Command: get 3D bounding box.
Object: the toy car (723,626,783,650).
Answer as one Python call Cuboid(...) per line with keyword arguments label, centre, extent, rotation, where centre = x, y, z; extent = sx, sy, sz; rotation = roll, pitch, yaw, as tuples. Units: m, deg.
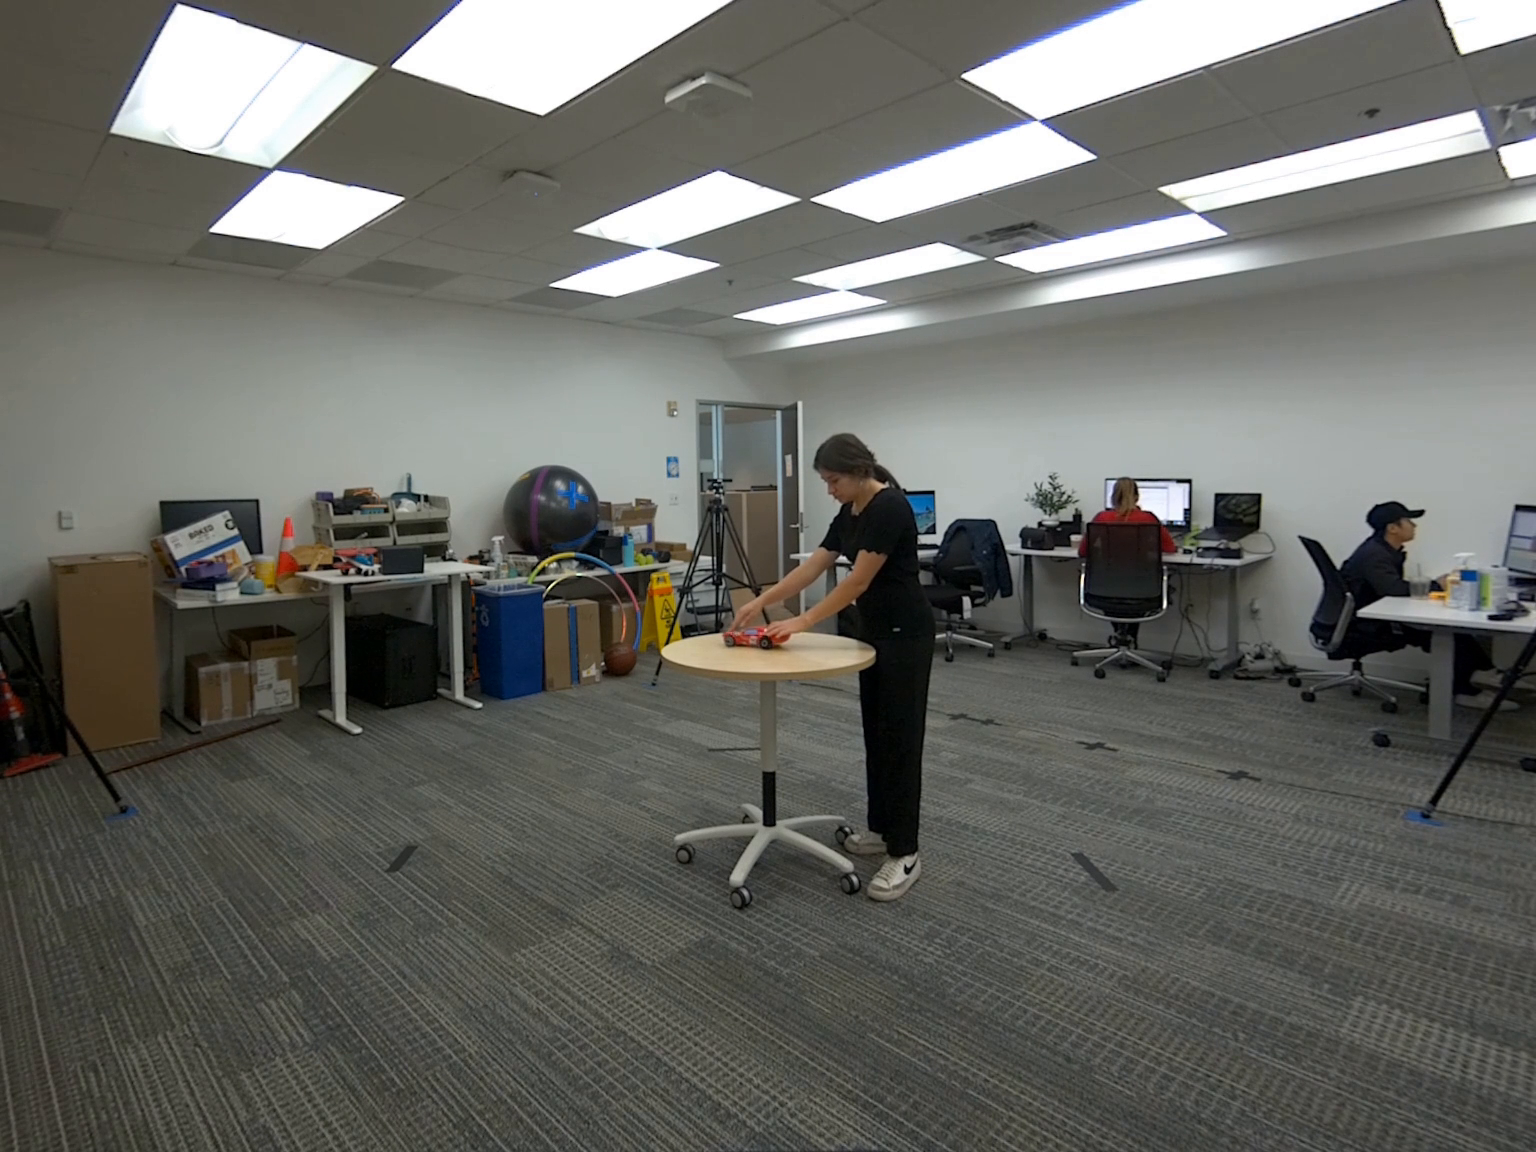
Cuboid(label="toy car", centre=(-0.034, 0.226, 3.132), extent=(0.259, 0.083, 0.128), rotation=(-11, 0, 24))
